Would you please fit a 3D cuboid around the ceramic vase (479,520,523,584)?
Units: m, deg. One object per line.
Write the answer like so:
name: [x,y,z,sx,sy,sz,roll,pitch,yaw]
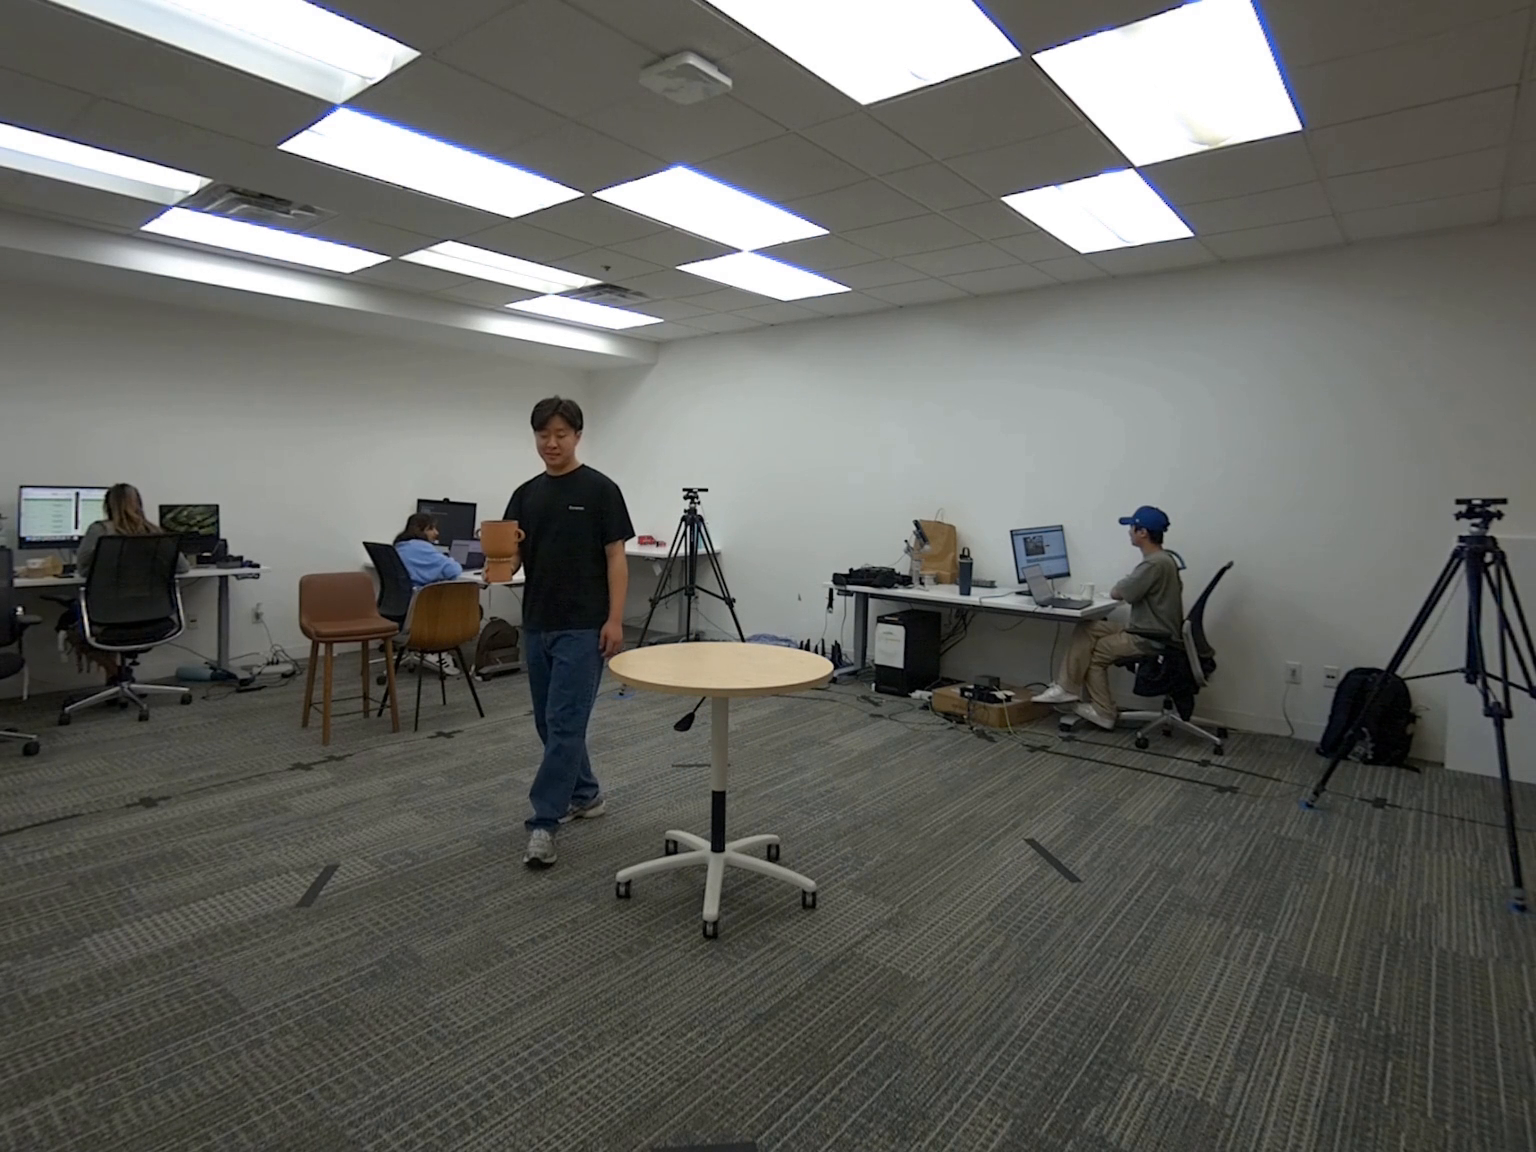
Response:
ceramic vase: [-1.005,-0.099,3.131,0.131,0.218,0.164,-3,8,-38]
